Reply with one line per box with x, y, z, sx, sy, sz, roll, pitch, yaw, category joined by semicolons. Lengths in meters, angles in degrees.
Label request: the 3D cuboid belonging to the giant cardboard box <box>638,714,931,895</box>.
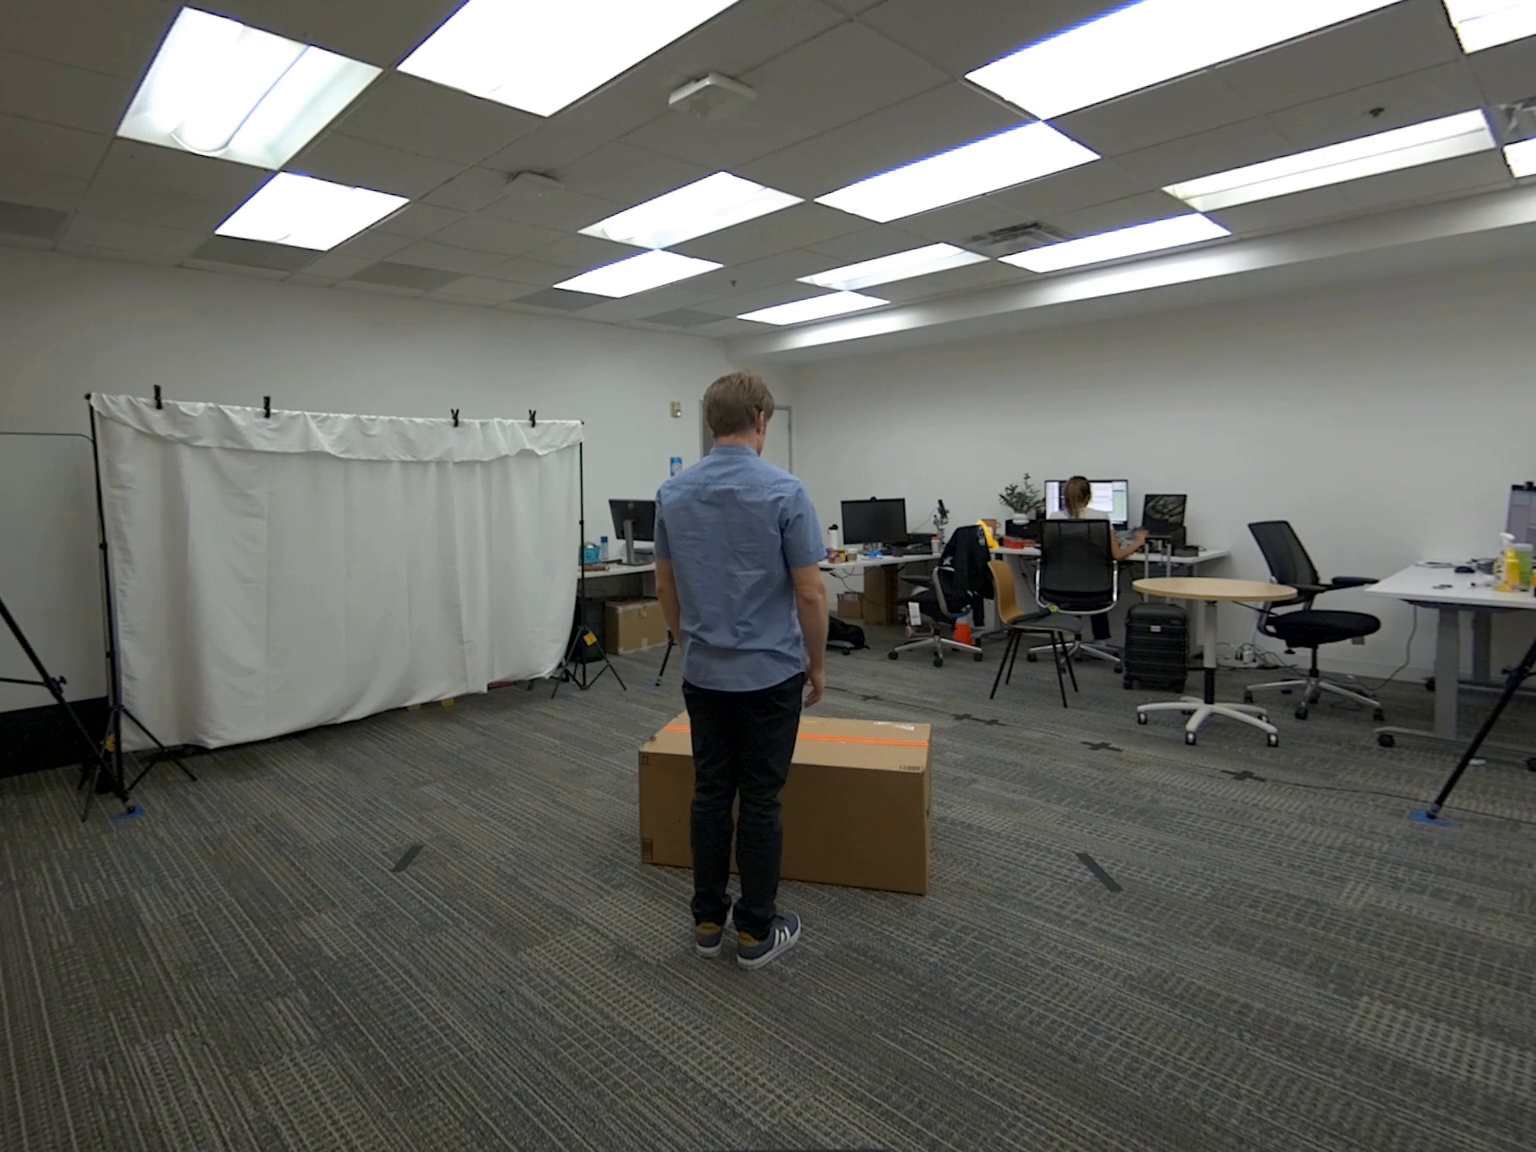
0.087;0.815;3.244;1.043;0.444;0.578;1;7;15;giant cardboard box
